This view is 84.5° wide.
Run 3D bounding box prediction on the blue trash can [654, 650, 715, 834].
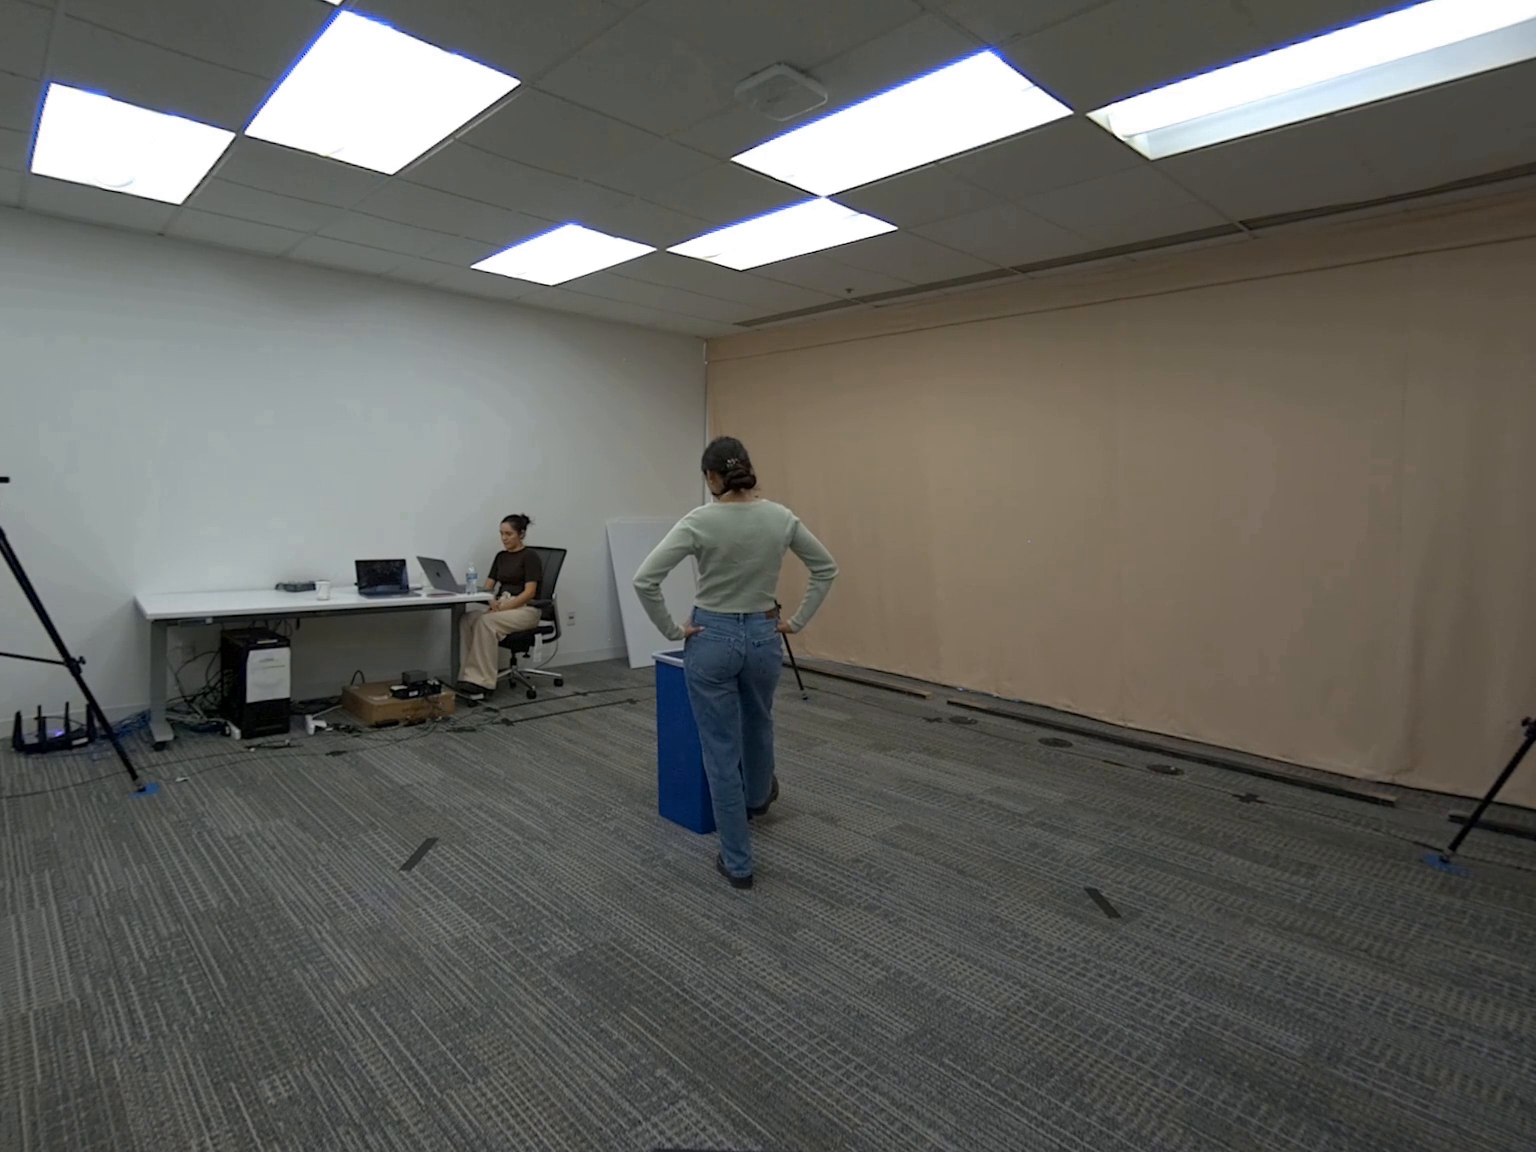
[{"bbox_3d":[-0.282,0.693,3.663,0.369,0.712,0.383,-2,5,-44],"label":"blue trash can"}]
